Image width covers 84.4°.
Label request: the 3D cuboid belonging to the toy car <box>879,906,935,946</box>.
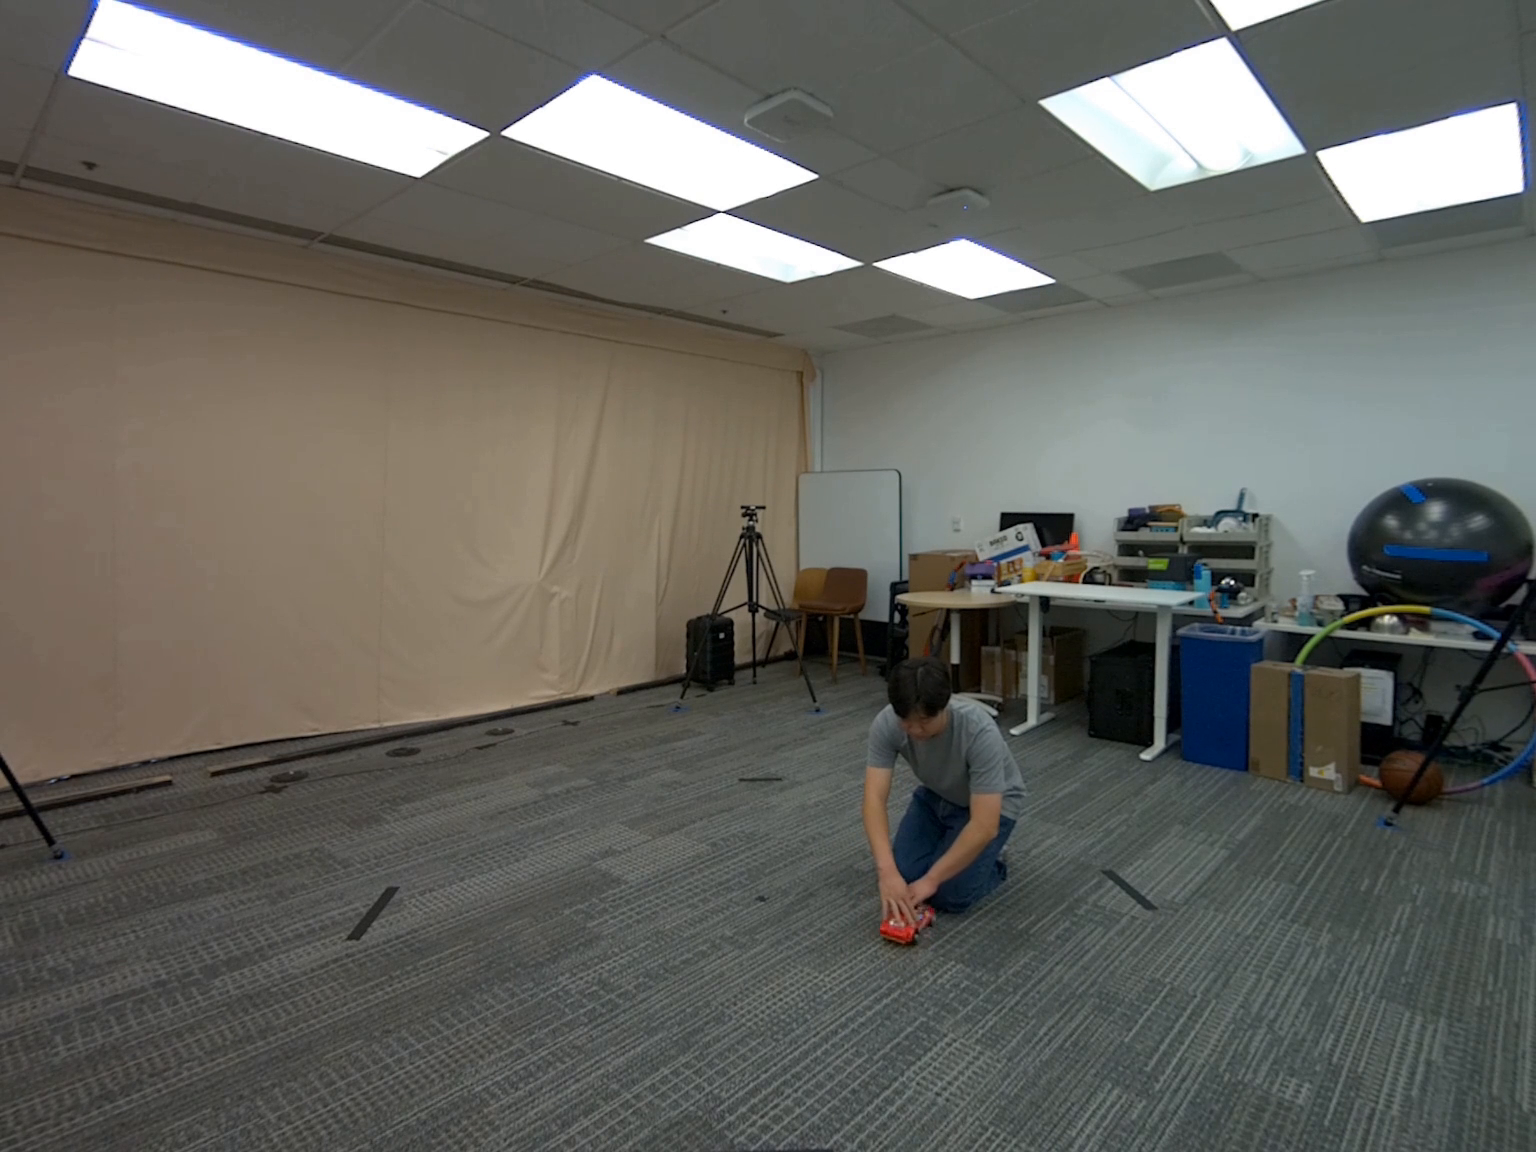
[{"bbox_3d":[0.451,1.135,2.727,0.134,0.083,0.246,3,-7,35],"label":"toy car"}]
